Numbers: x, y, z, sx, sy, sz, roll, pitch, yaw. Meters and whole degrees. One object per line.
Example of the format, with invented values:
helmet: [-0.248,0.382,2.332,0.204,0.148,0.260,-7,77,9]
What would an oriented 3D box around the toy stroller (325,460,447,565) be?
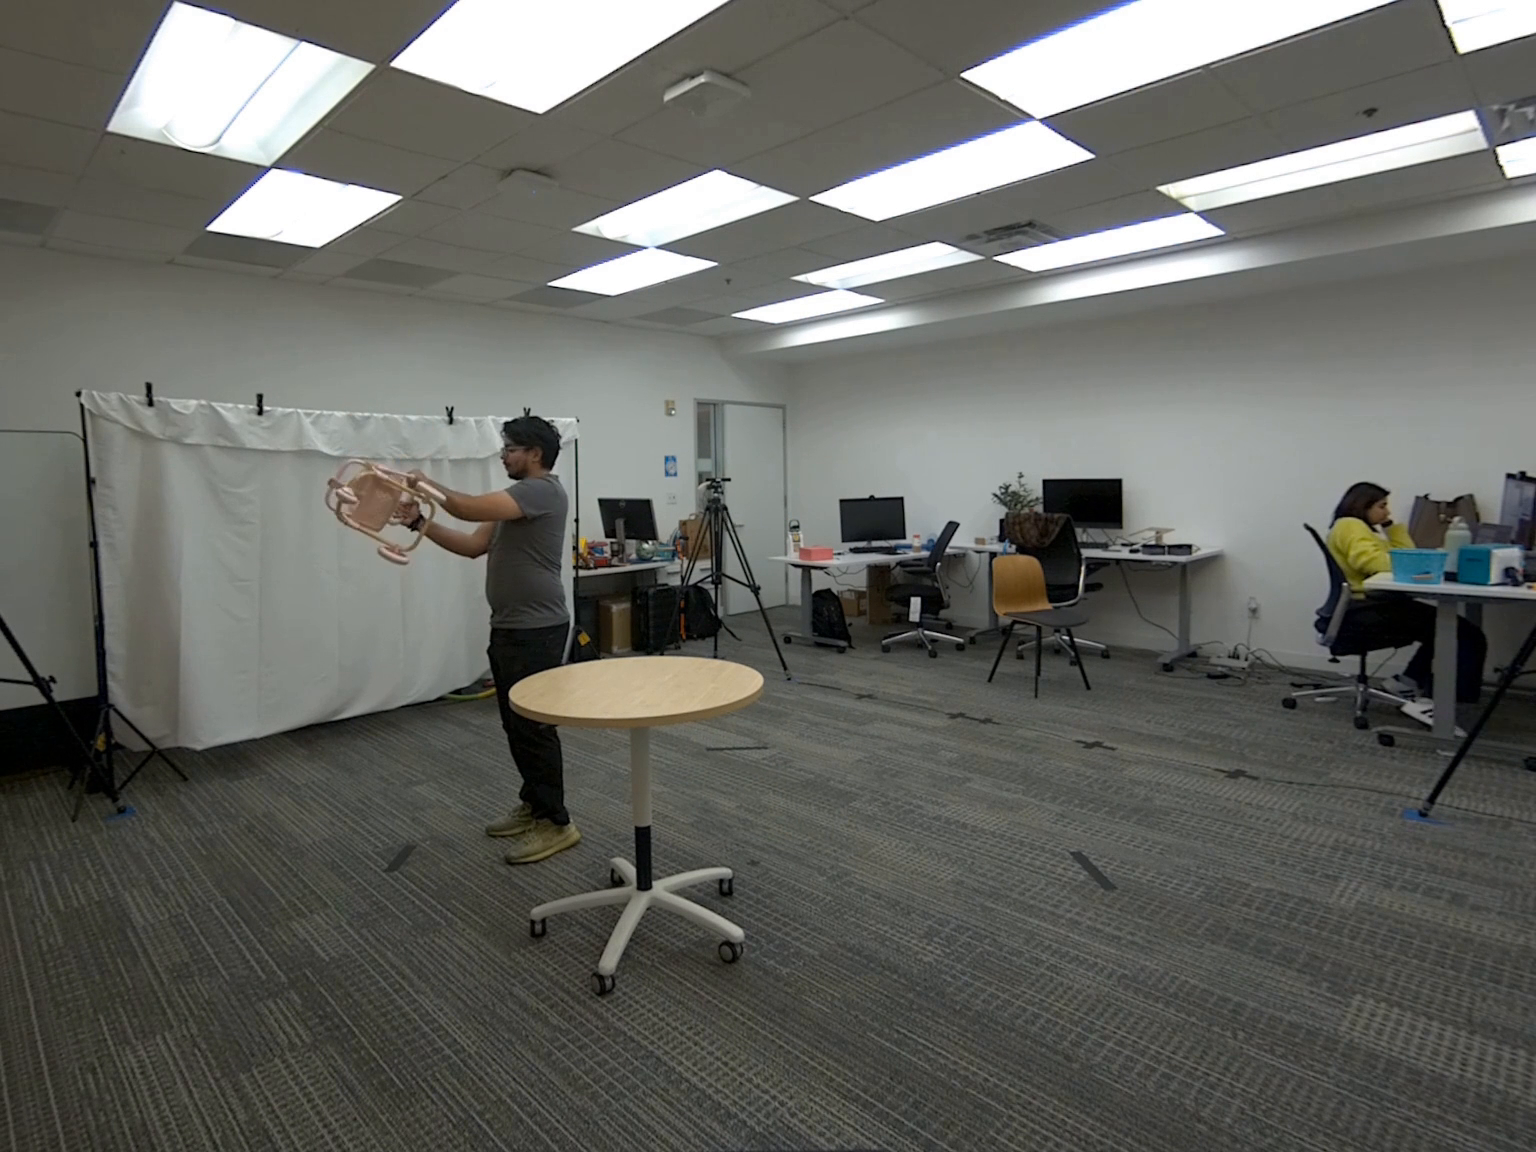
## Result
toy stroller: [-1.350,-0.260,2.976,0.329,0.281,0.555,25,3,-36]
